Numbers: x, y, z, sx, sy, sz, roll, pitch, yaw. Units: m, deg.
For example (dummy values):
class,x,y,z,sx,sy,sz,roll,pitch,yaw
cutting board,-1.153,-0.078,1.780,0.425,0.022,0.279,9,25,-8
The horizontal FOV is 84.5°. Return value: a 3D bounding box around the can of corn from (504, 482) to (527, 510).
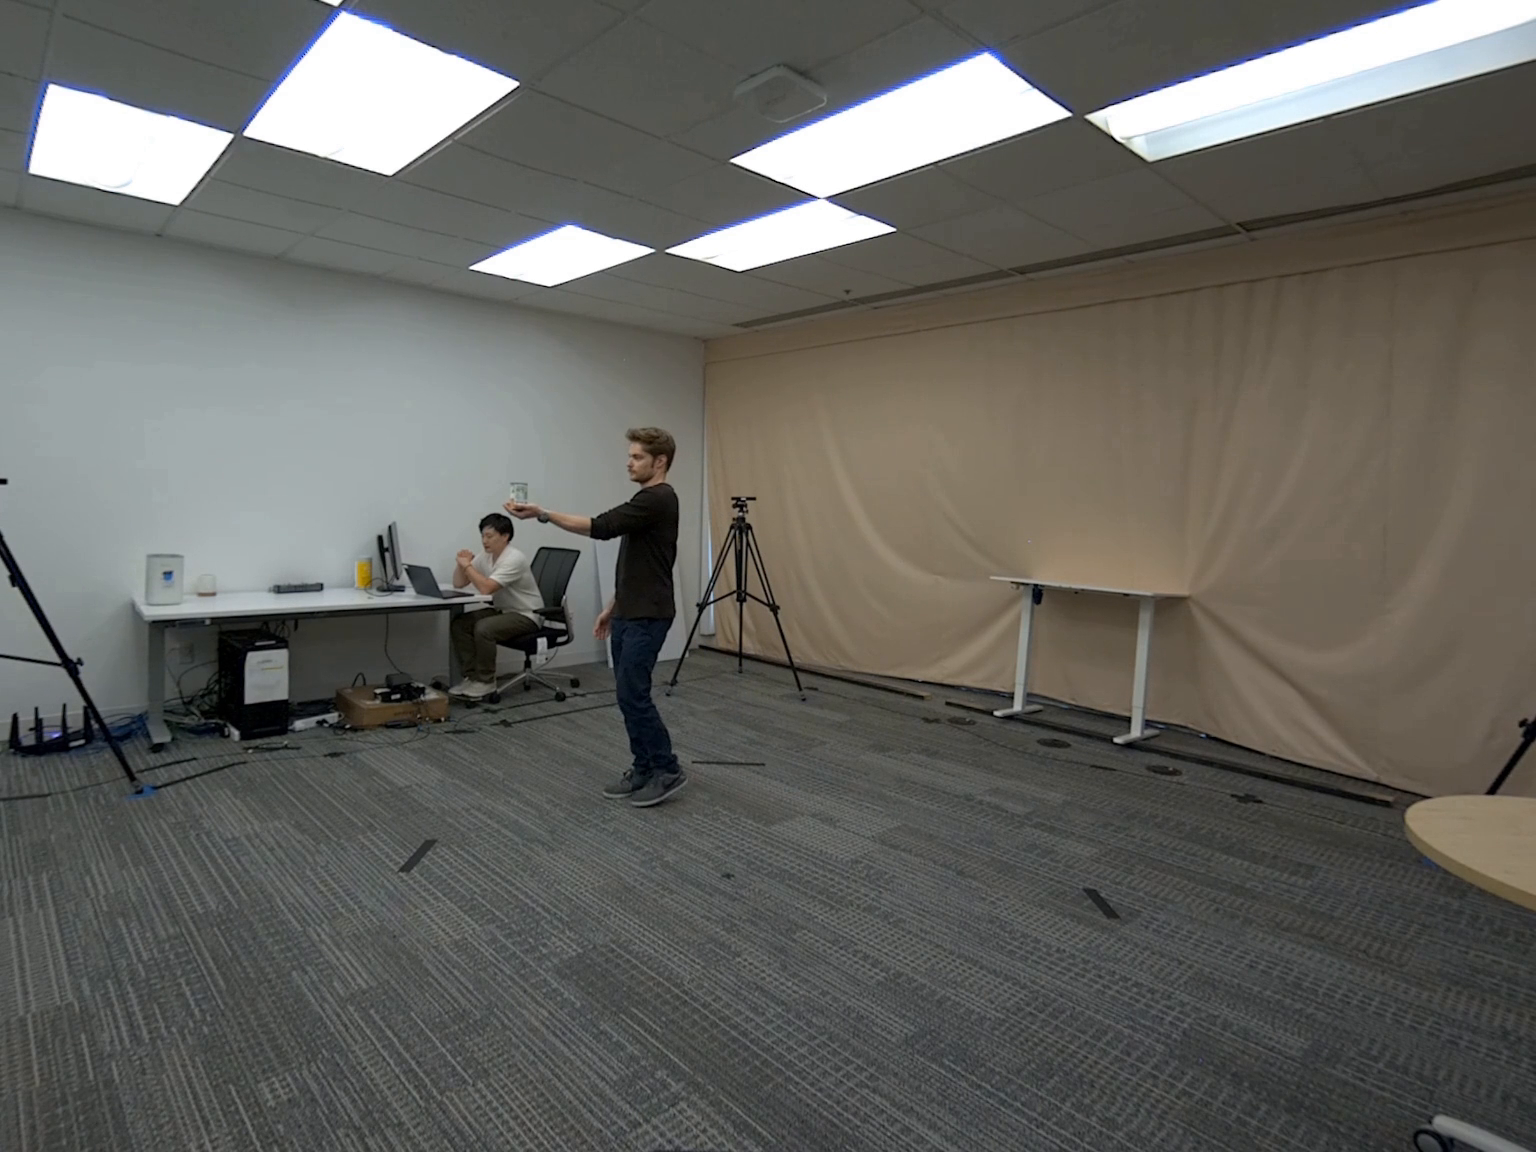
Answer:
class,x,y,z,sx,sy,sz,roll,pitch,yaw
can of corn,-1.071,-0.339,3.584,0.074,0.111,0.074,1,-1,-1
